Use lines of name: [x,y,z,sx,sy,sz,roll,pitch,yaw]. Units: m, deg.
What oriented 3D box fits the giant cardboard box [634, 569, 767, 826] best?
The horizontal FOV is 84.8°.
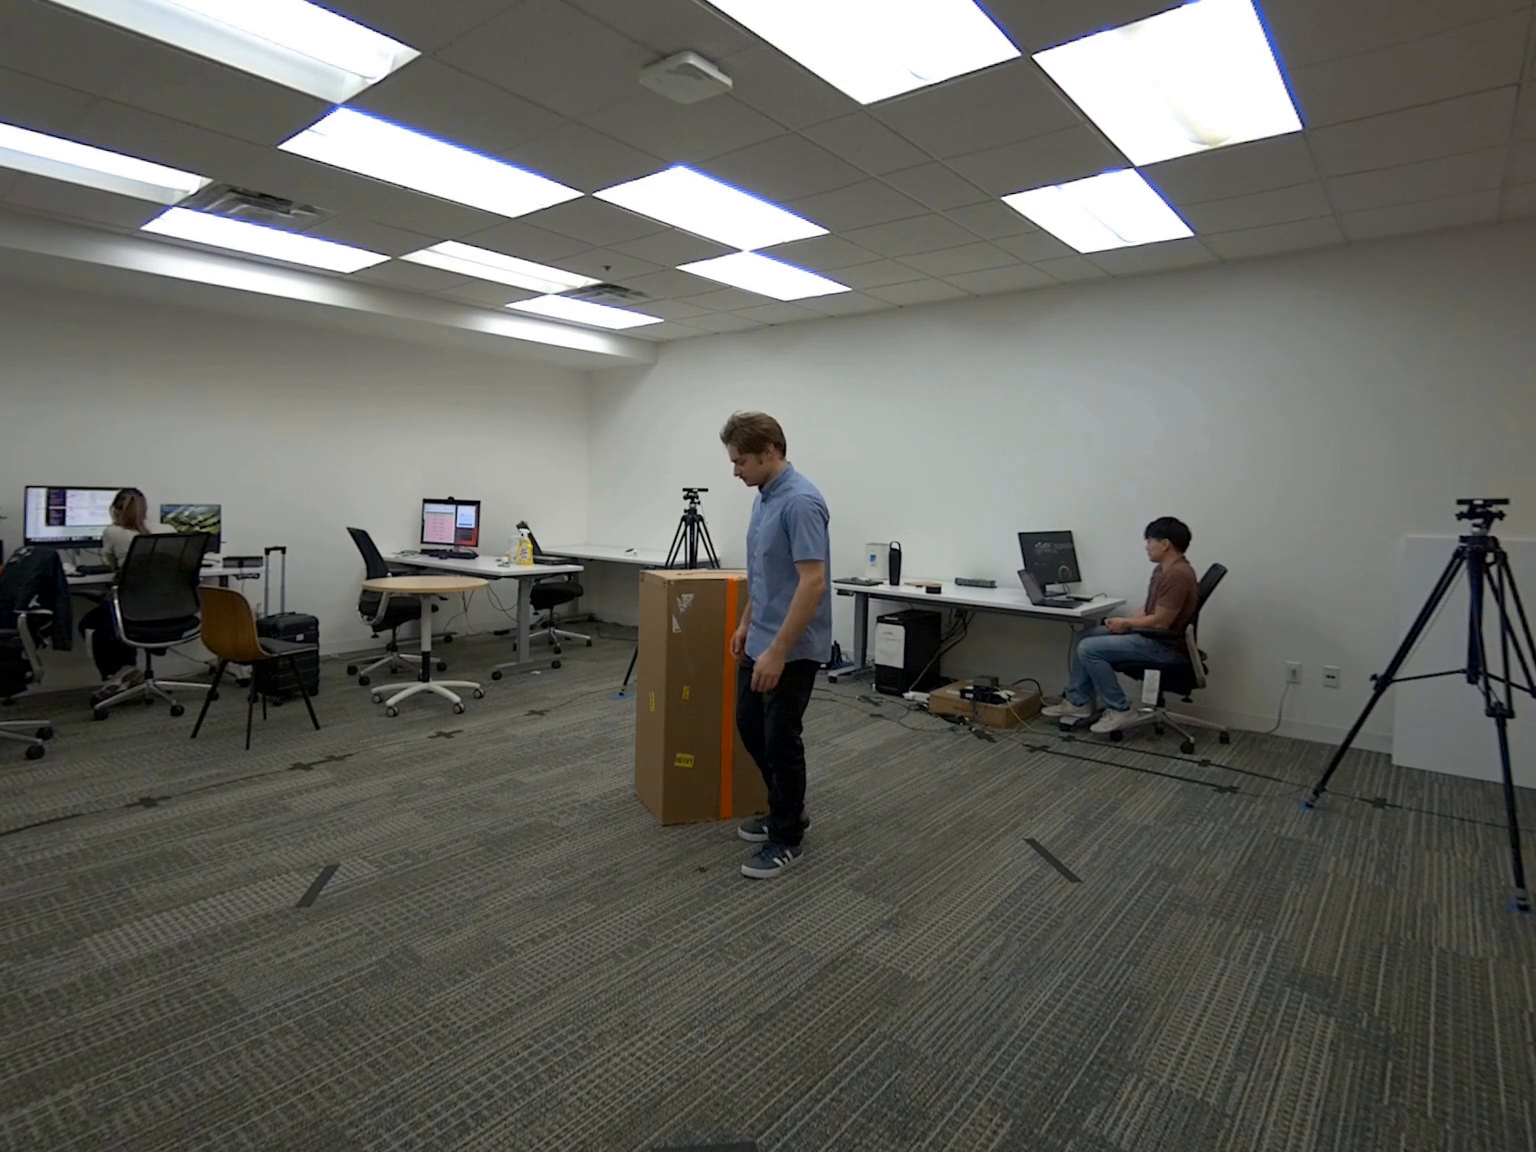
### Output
giant cardboard box: [-0.263,0.499,3.774,0.570,1.025,0.458,0,2,-24]
